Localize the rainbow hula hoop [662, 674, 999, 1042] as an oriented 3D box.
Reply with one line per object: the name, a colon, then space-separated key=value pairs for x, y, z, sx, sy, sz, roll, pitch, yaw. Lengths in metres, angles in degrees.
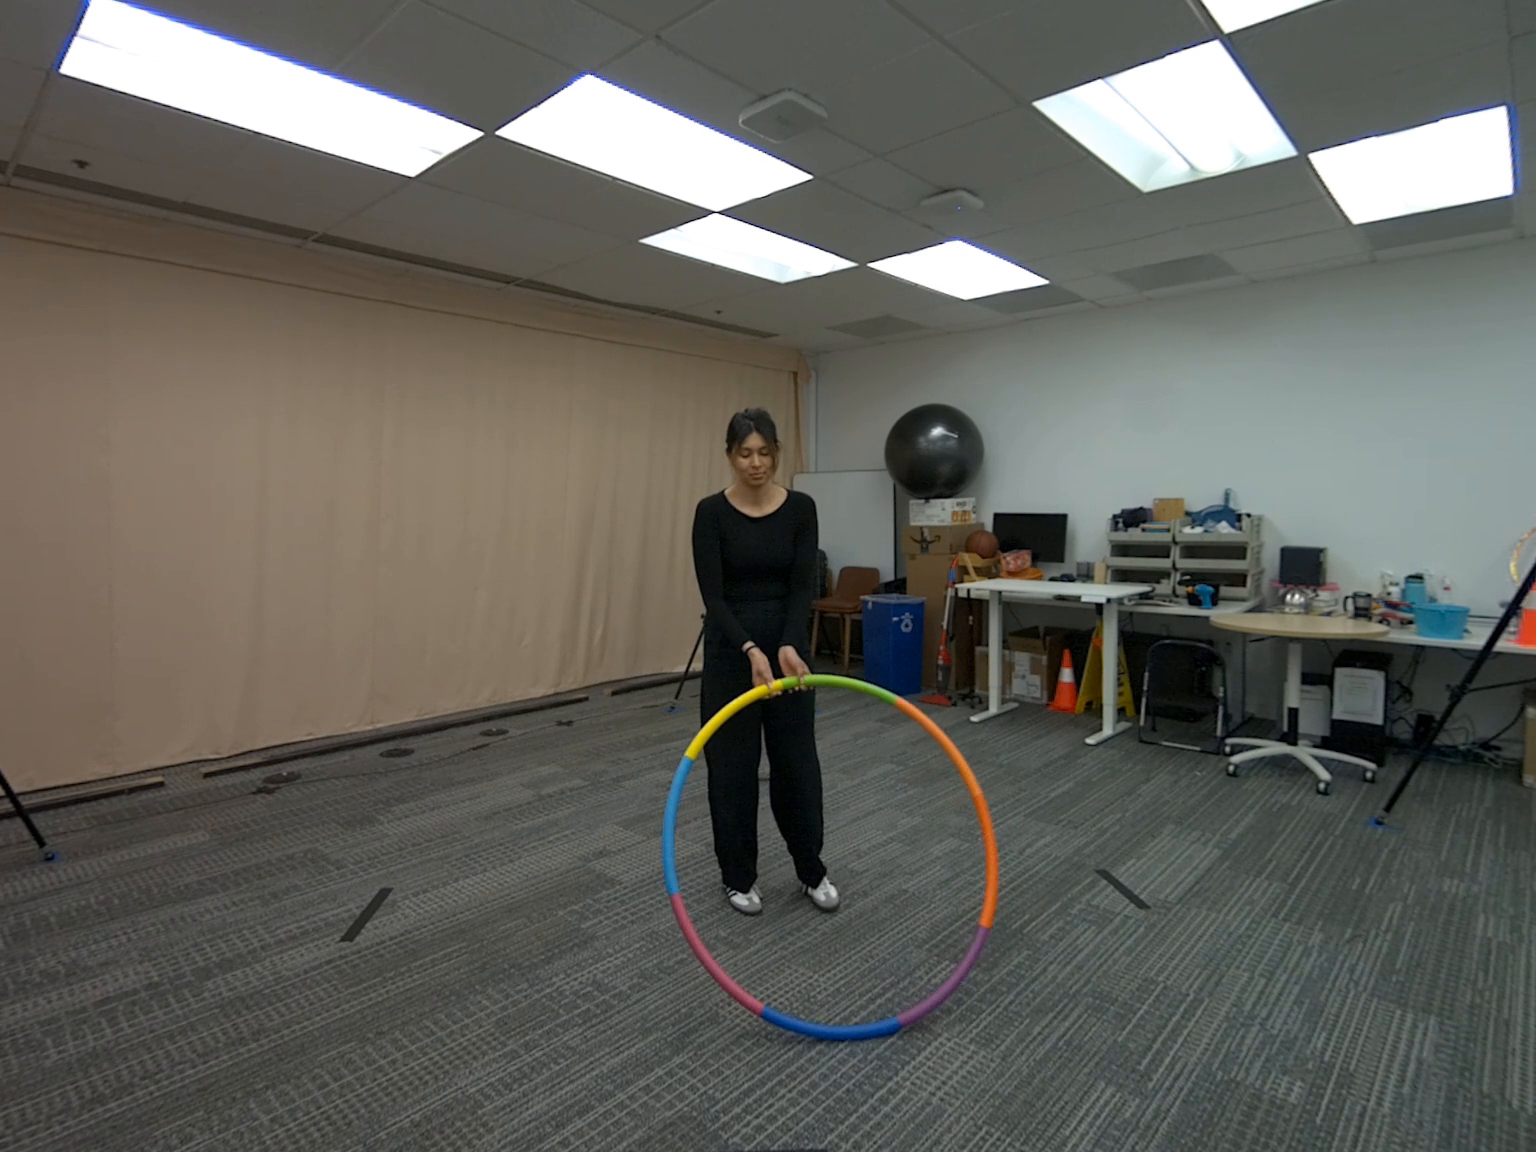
rainbow hula hoop: x=0.209 y=0.756 z=2.390 sx=0.967 sy=0.995 sz=0.035 roll=-1 pitch=-26 yaw=-11
